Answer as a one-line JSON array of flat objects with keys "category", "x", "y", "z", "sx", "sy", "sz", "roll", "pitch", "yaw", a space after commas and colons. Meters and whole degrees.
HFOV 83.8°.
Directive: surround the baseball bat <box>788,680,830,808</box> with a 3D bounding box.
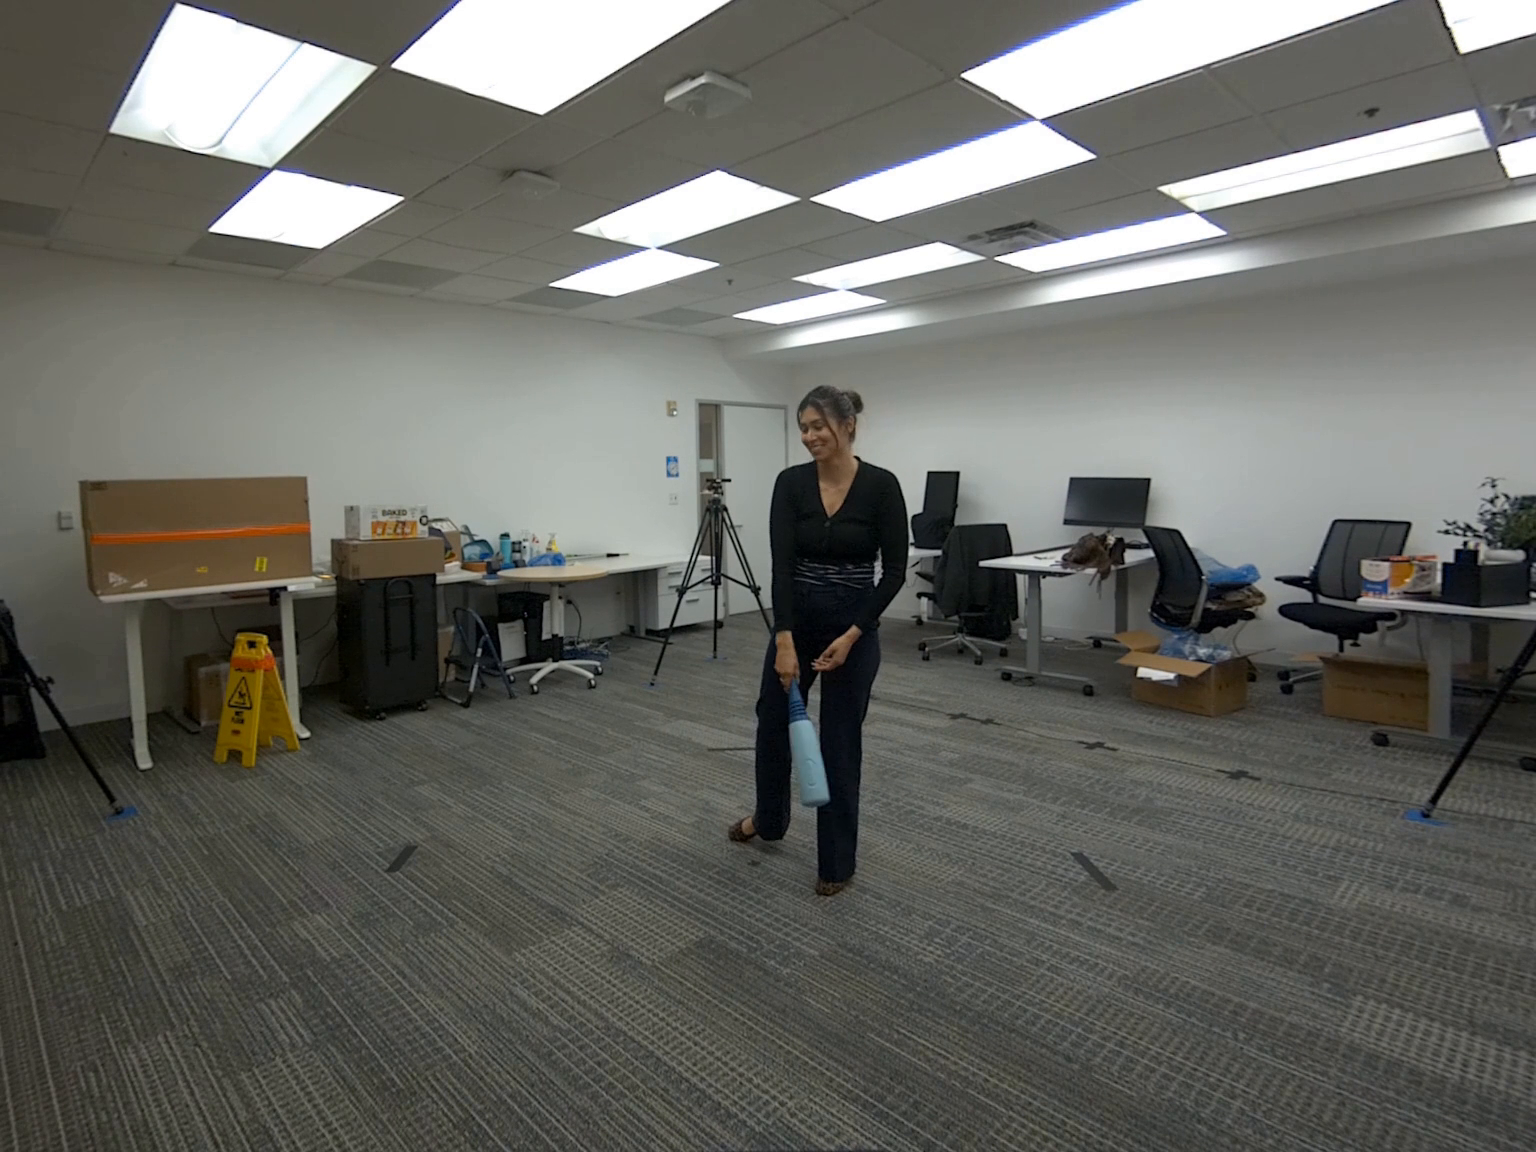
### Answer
[{"category": "baseball bat", "x": 0.101, "y": 0.443, "z": 2.667, "sx": 0.089, "sy": 0.557, "sz": 0.087, "roll": -8, "pitch": -28, "yaw": -6}]
